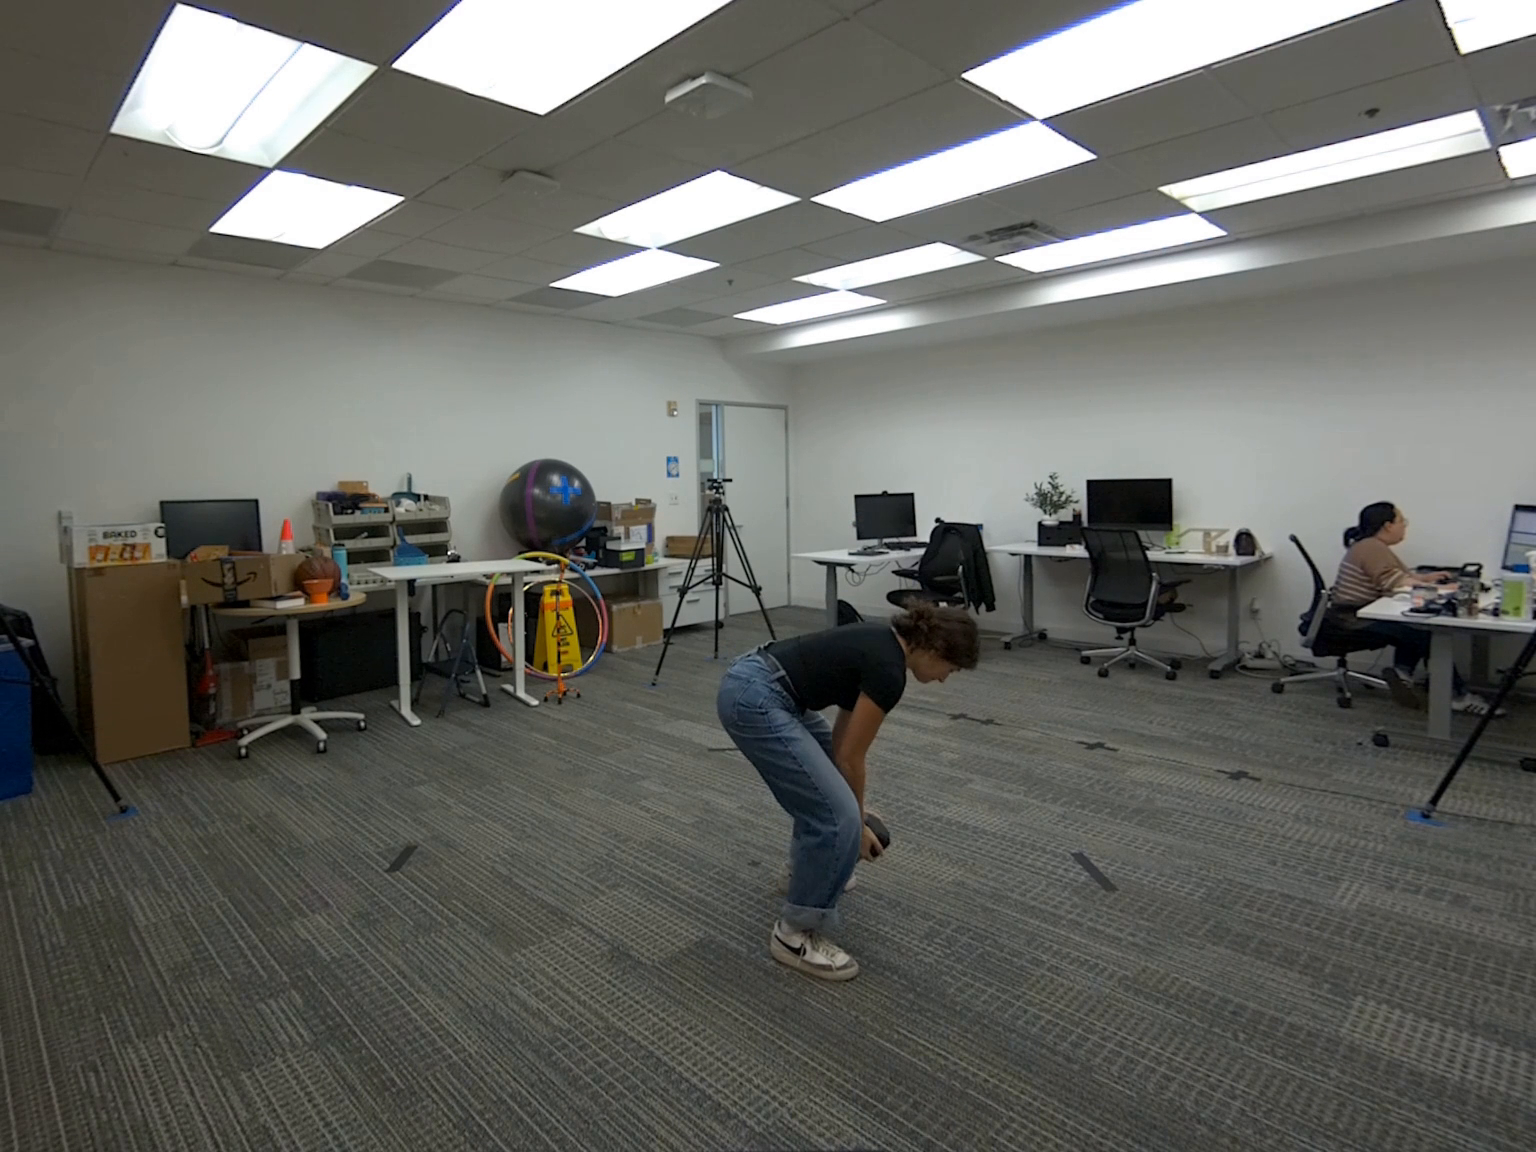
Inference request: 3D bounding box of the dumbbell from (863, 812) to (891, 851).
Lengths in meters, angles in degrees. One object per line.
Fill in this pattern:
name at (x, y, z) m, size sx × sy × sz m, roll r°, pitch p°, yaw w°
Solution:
dumbbell at (0.266, 0.884, 2.660) m, size 0.127 × 0.293 × 0.105 m, roll 47°, pitch 11°, yaw 32°
